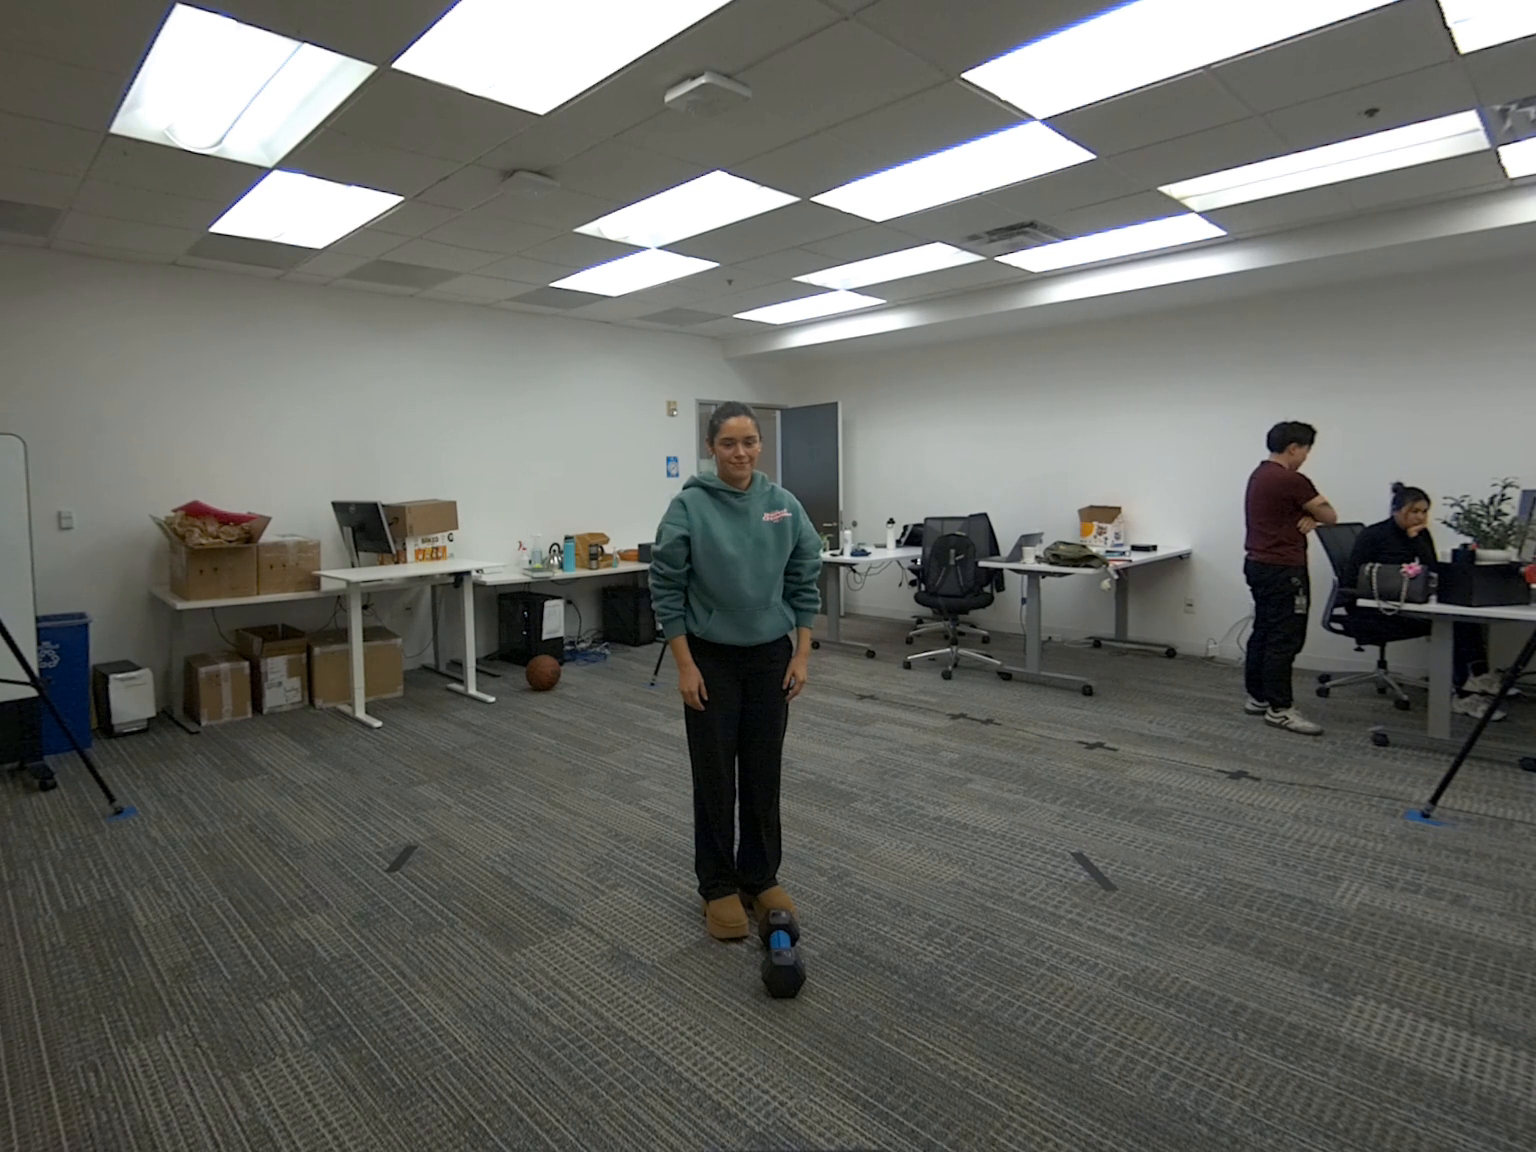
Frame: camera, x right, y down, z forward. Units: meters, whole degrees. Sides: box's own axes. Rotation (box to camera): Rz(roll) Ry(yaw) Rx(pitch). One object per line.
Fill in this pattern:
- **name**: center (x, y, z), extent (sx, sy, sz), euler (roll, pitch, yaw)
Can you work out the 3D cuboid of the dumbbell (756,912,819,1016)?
- **dumbbell**: center (0.048, 1.077, 2.430), extent (0.108, 0.123, 0.295), euler (28, 4, -6)
